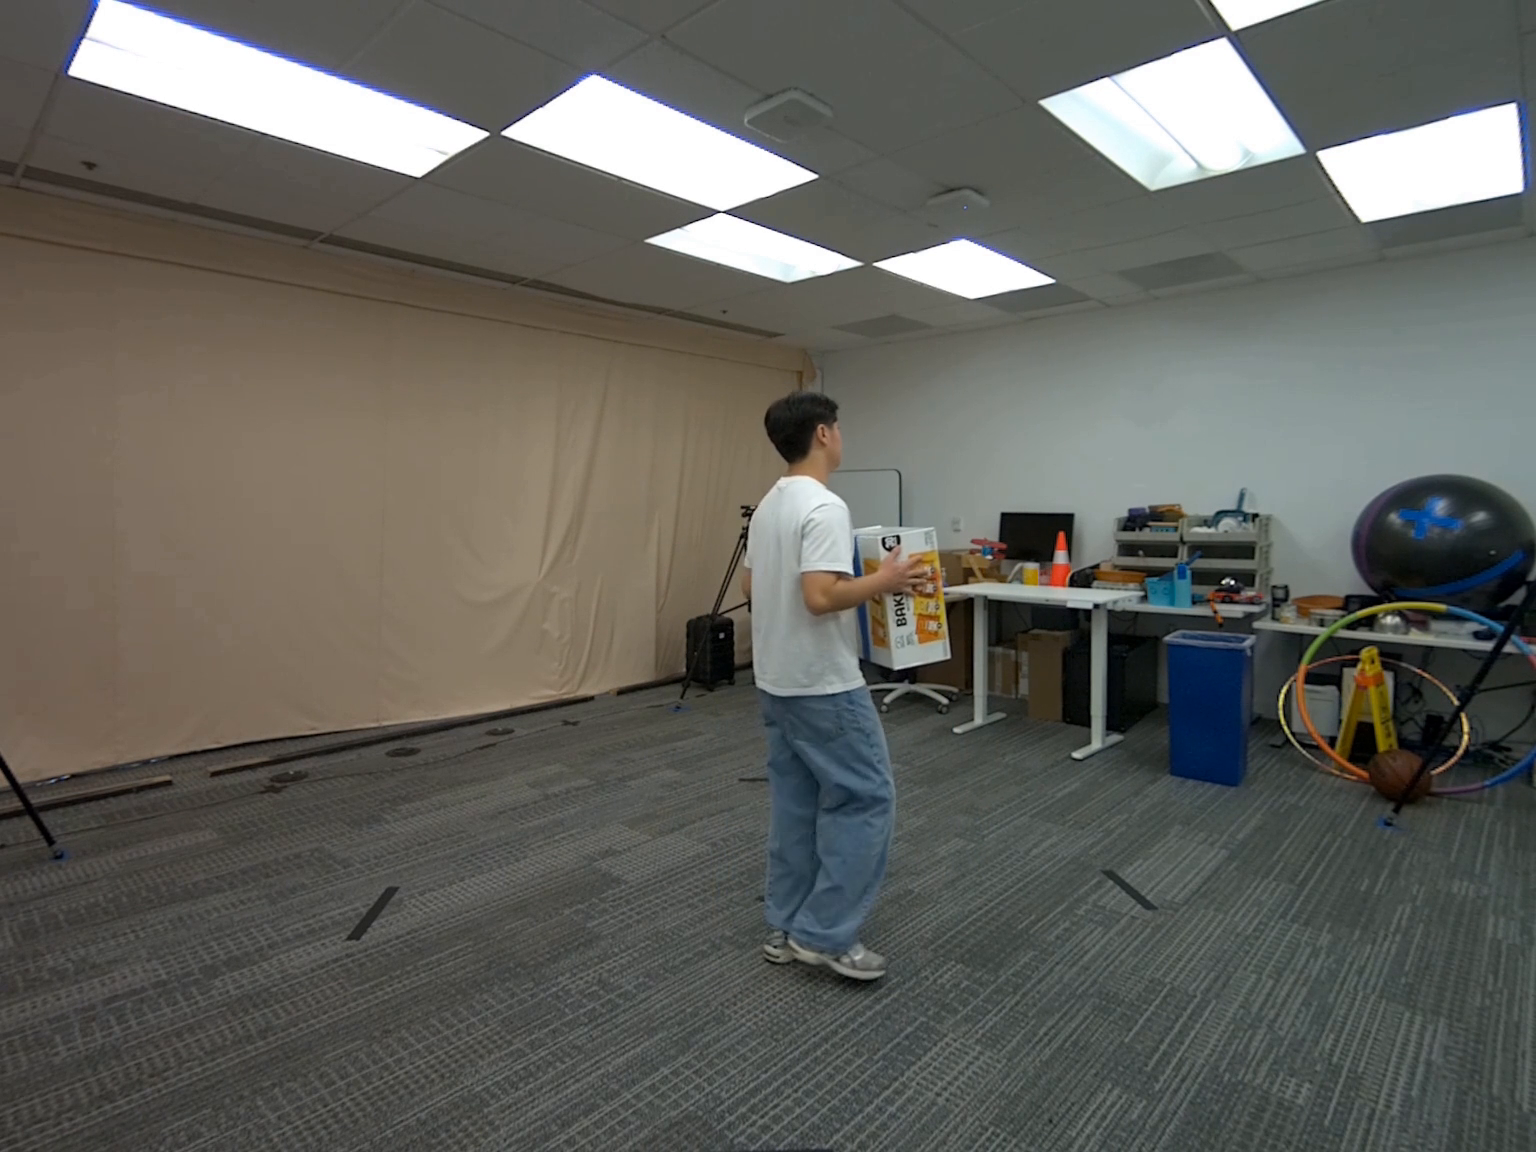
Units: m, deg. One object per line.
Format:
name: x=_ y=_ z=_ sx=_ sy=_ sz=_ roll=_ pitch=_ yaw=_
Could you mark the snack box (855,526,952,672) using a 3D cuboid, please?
snack box: x=0.394 y=0.059 z=2.692 sx=0.202 sy=0.403 sz=0.348 roll=-9 pitch=6 yaw=-19
